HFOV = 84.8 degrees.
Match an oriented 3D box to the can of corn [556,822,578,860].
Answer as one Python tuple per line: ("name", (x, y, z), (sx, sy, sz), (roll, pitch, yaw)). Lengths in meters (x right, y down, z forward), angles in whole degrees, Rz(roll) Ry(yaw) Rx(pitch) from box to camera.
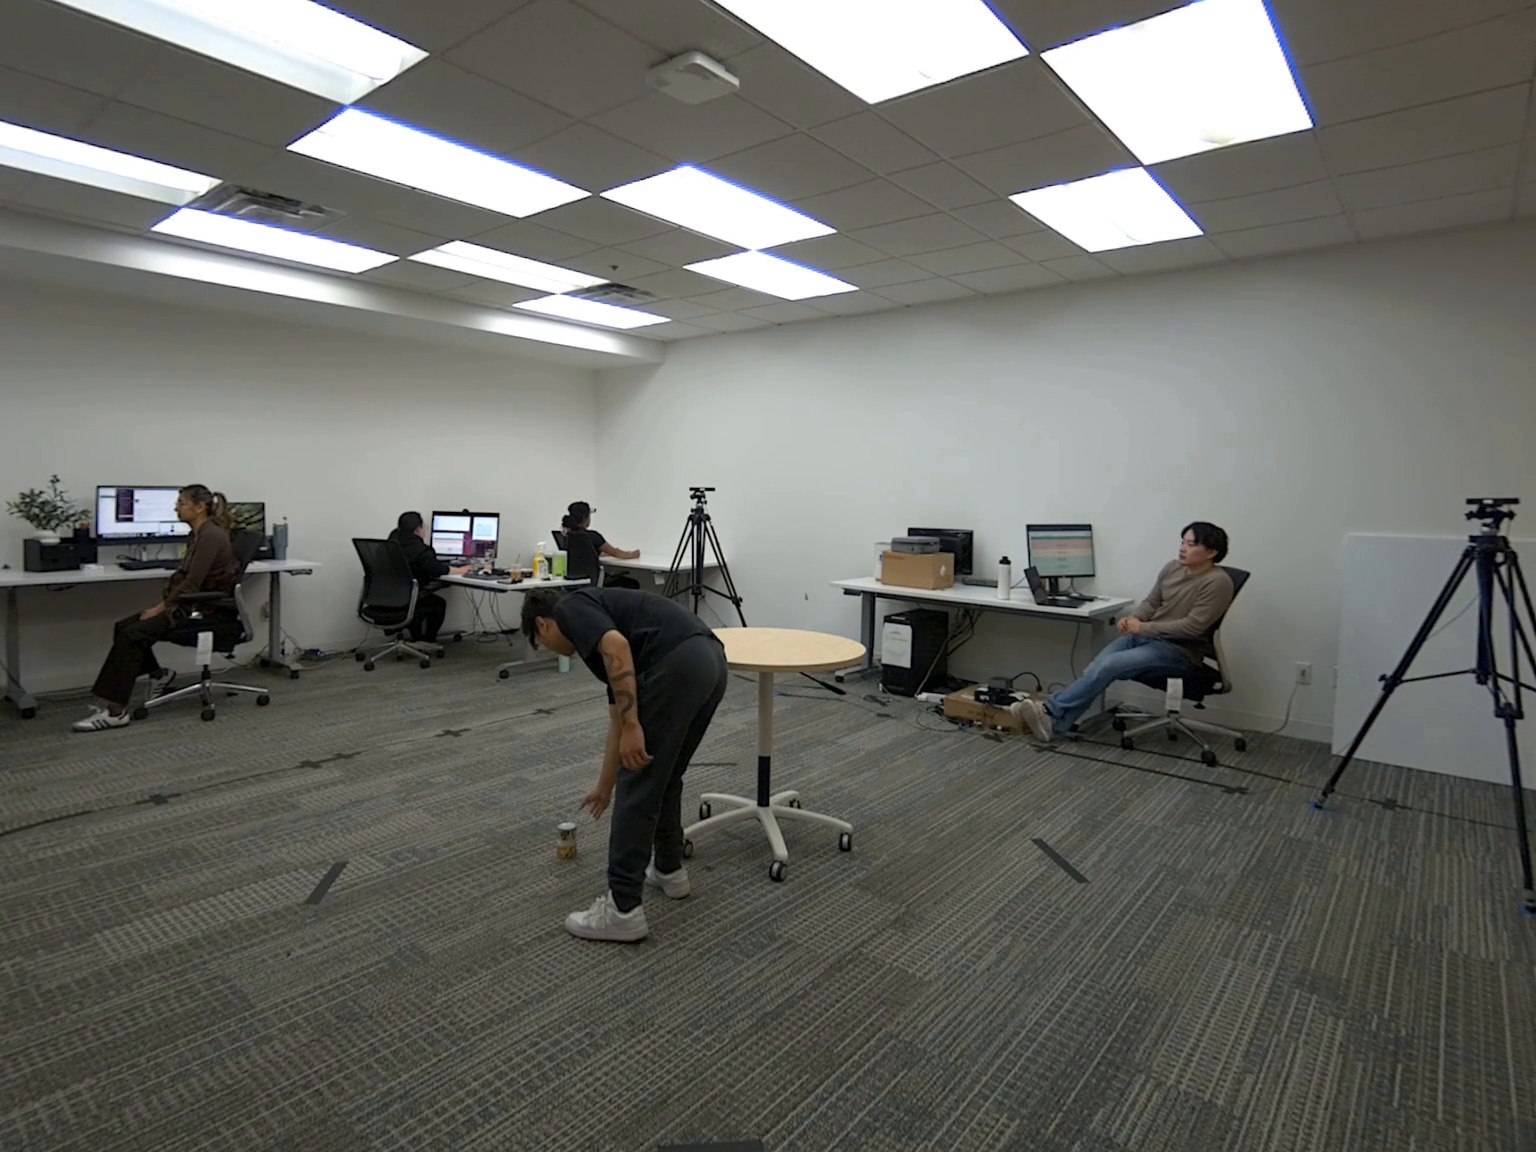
("can of corn", (-0.769, 0.997, 3.197), (0.074, 0.111, 0.074), (0, 3, -2))
